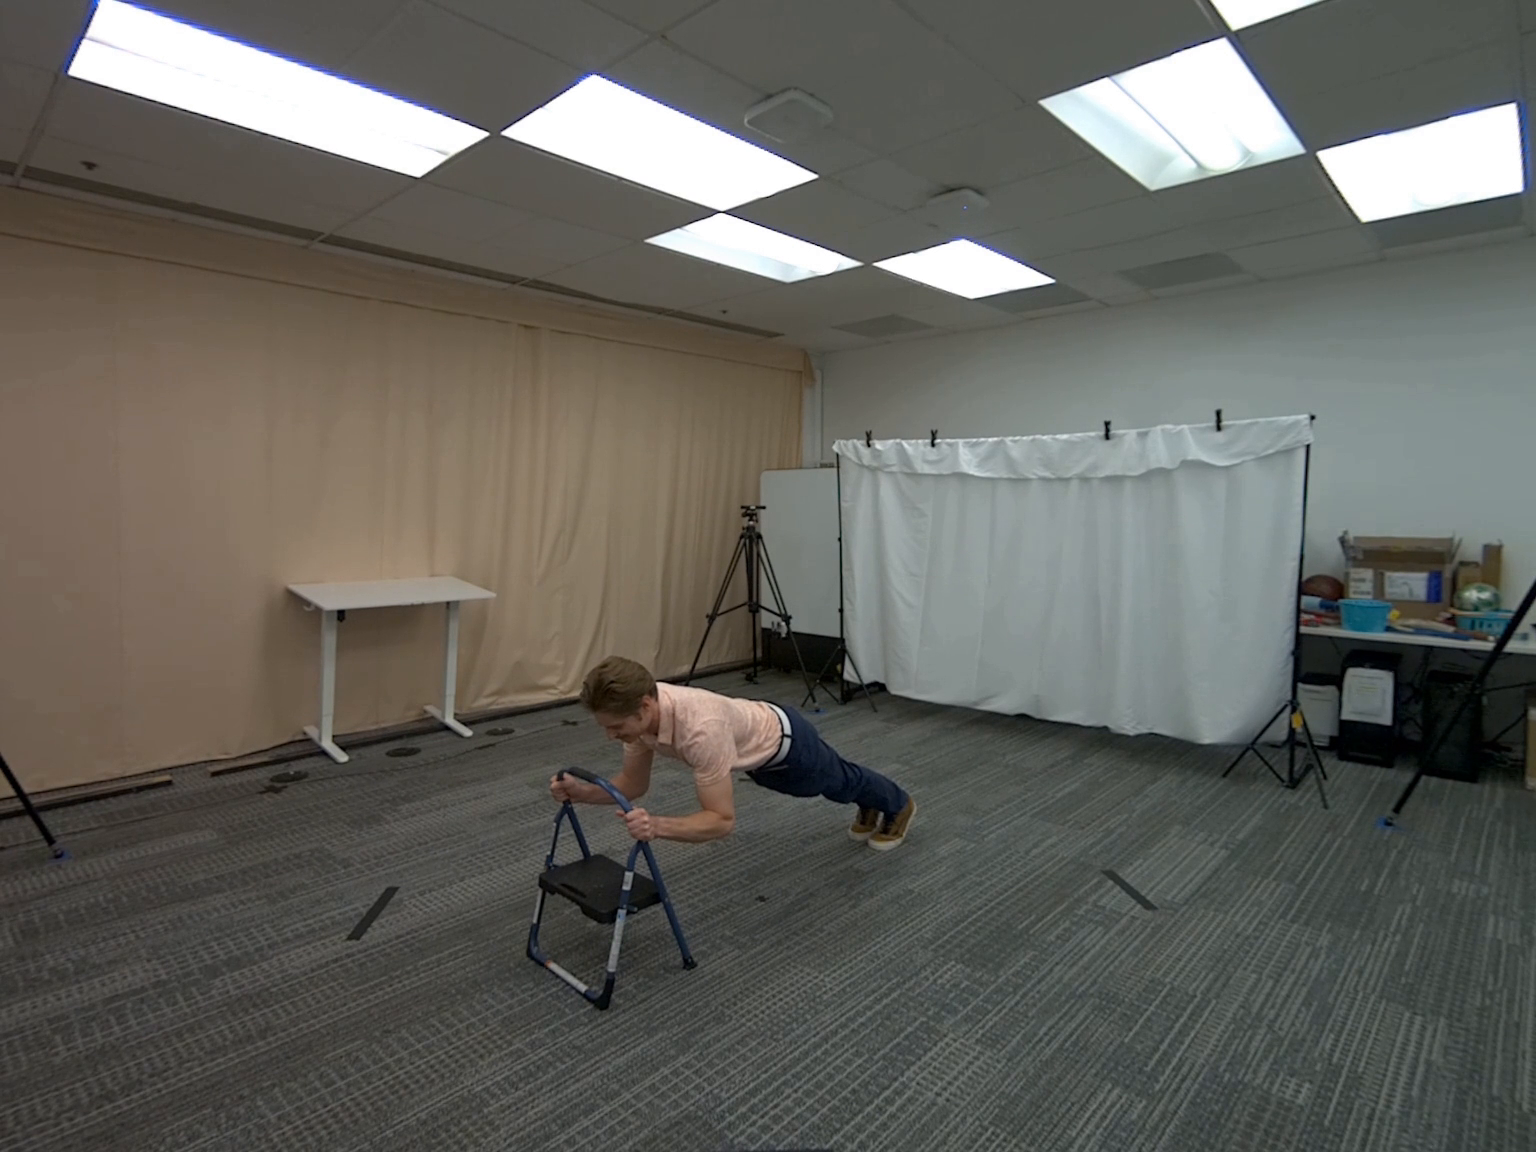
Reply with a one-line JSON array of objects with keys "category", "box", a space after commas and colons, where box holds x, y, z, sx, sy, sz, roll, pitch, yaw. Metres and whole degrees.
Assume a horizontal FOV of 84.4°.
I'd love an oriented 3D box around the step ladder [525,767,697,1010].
[{"category": "step ladder", "box": [-0.489, 0.883, 2.565, 0.445, 0.605, 0.338, 3, 5, 44]}]
